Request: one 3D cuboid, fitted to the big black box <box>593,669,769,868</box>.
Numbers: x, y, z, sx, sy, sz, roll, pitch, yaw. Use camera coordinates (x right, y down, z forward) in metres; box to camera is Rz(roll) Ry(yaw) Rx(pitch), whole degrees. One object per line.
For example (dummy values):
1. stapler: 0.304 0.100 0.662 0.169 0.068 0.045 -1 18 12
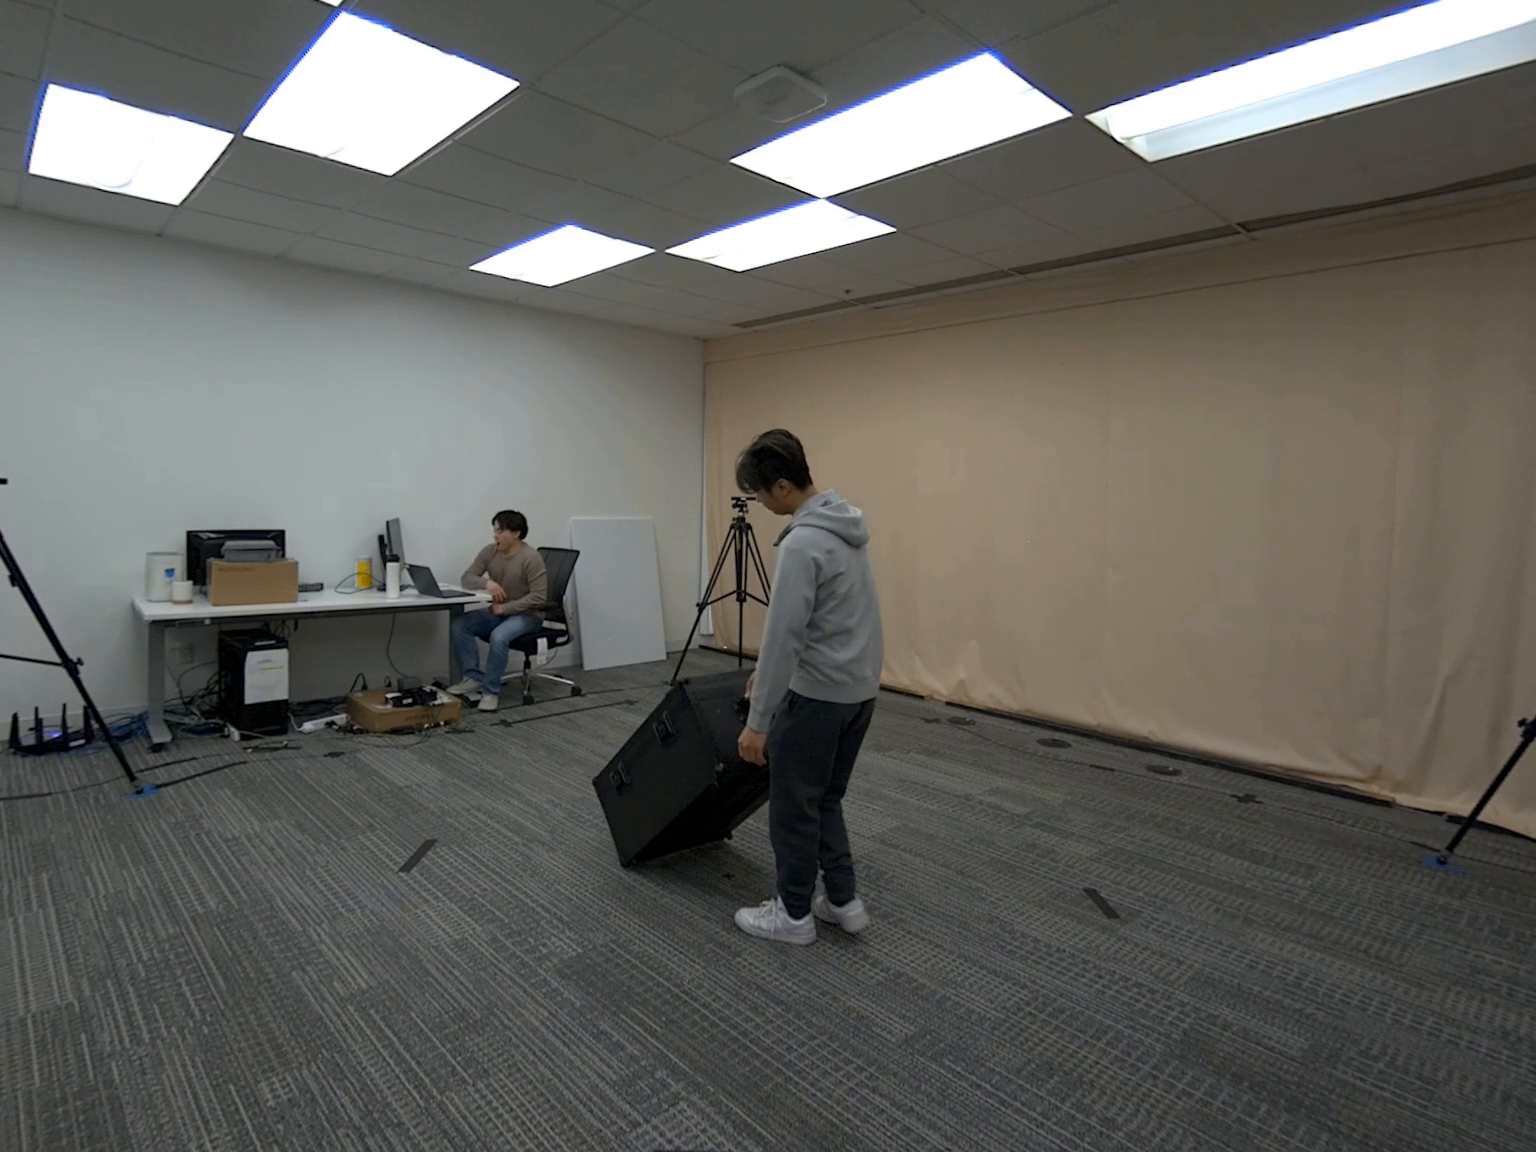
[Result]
1. big black box: -0.253 0.735 3.150 0.509 0.406 0.860 -2 -35 -40
